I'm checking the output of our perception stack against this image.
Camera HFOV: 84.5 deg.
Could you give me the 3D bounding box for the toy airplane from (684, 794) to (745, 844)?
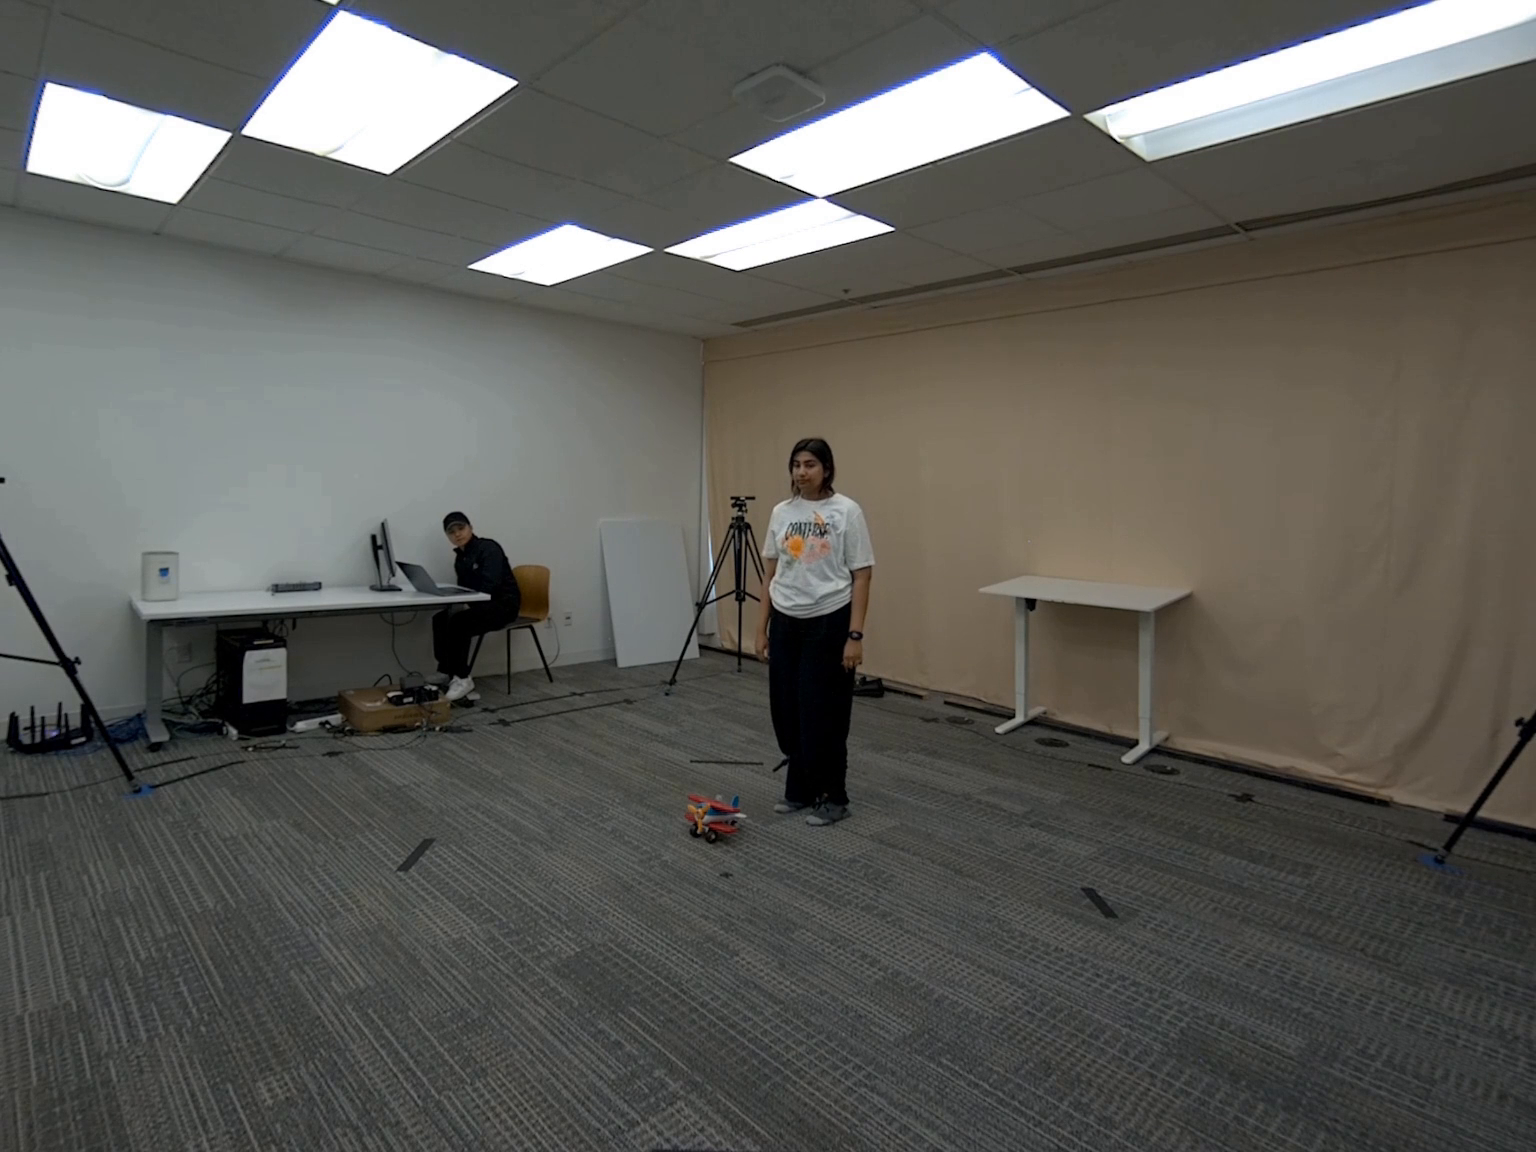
[{"bbox_3d":[-0.234,0.990,3.496,0.253,0.156,0.257,2,5,11],"label":"toy airplane"}]
